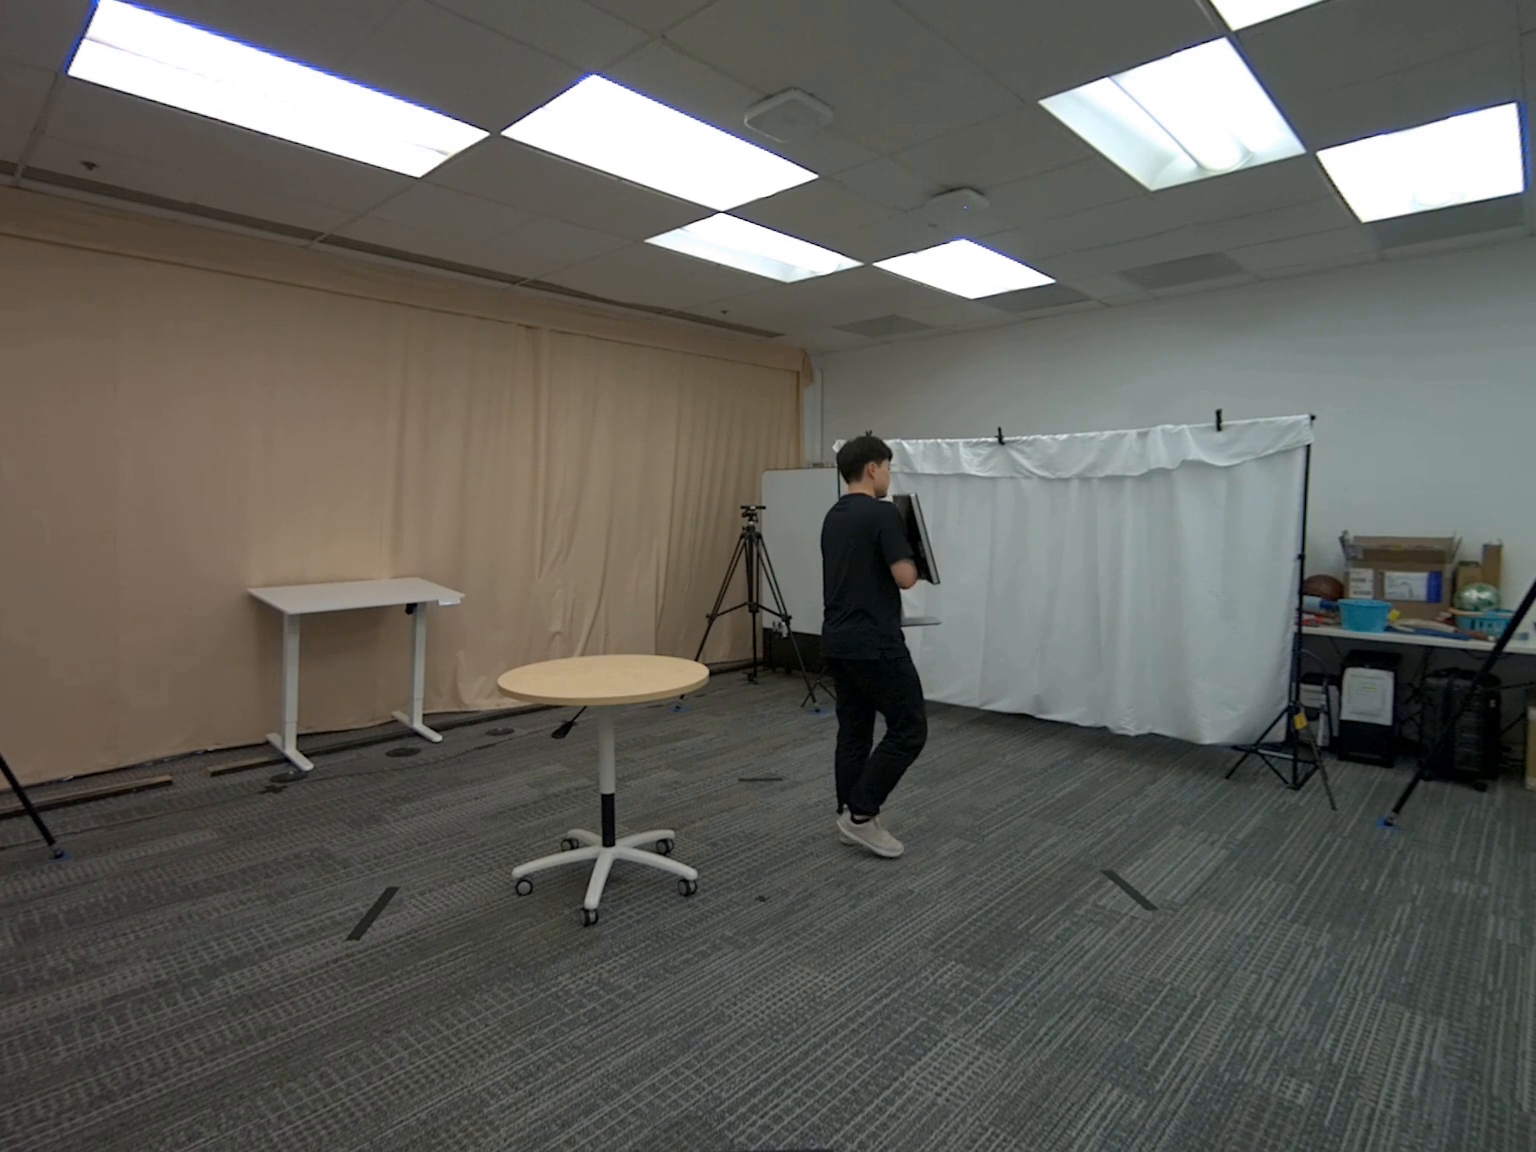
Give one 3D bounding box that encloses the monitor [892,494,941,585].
[{"bbox_3d":[0.587,-0.073,3.508,0.187,0.521,0.539,-3,4,0],"label":"monitor"}]
